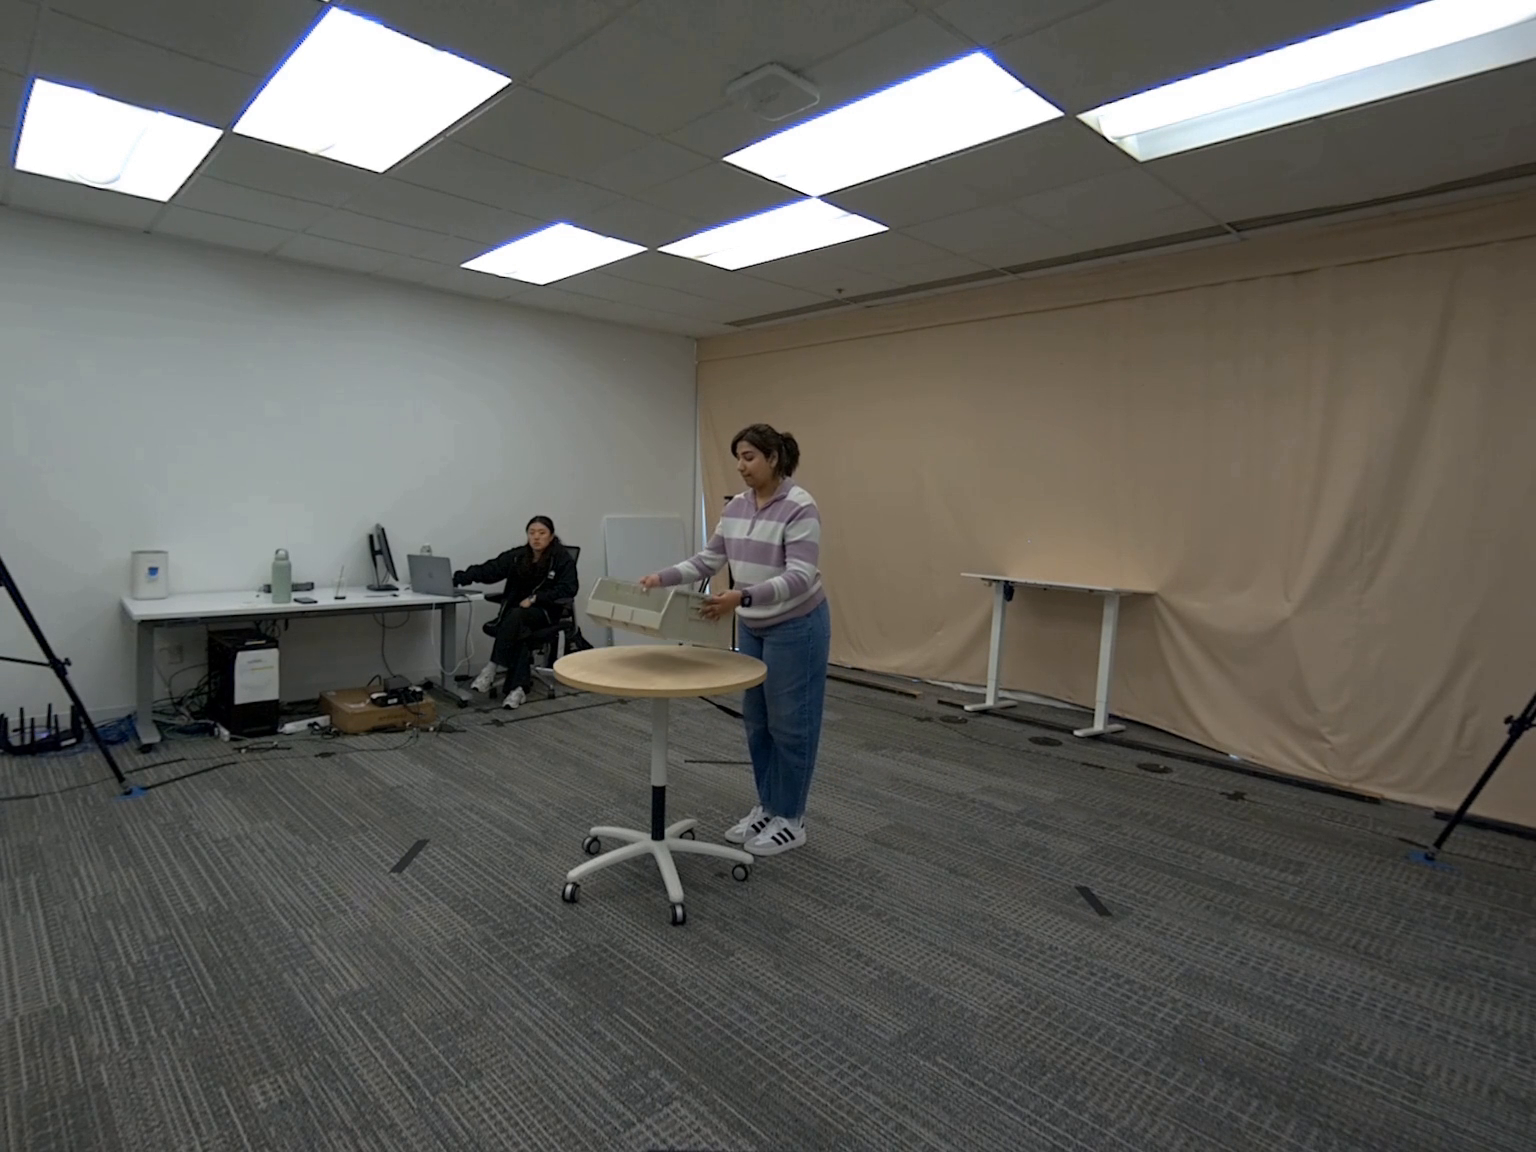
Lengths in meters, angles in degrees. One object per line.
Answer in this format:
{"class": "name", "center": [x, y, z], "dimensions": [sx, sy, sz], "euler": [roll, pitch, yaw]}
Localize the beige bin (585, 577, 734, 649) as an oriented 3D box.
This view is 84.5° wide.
{"class": "beige bin", "center": [-0.391, 0.130, 3.044], "dimensions": [0.433, 0.189, 0.366], "euler": [7, -5, 41]}
